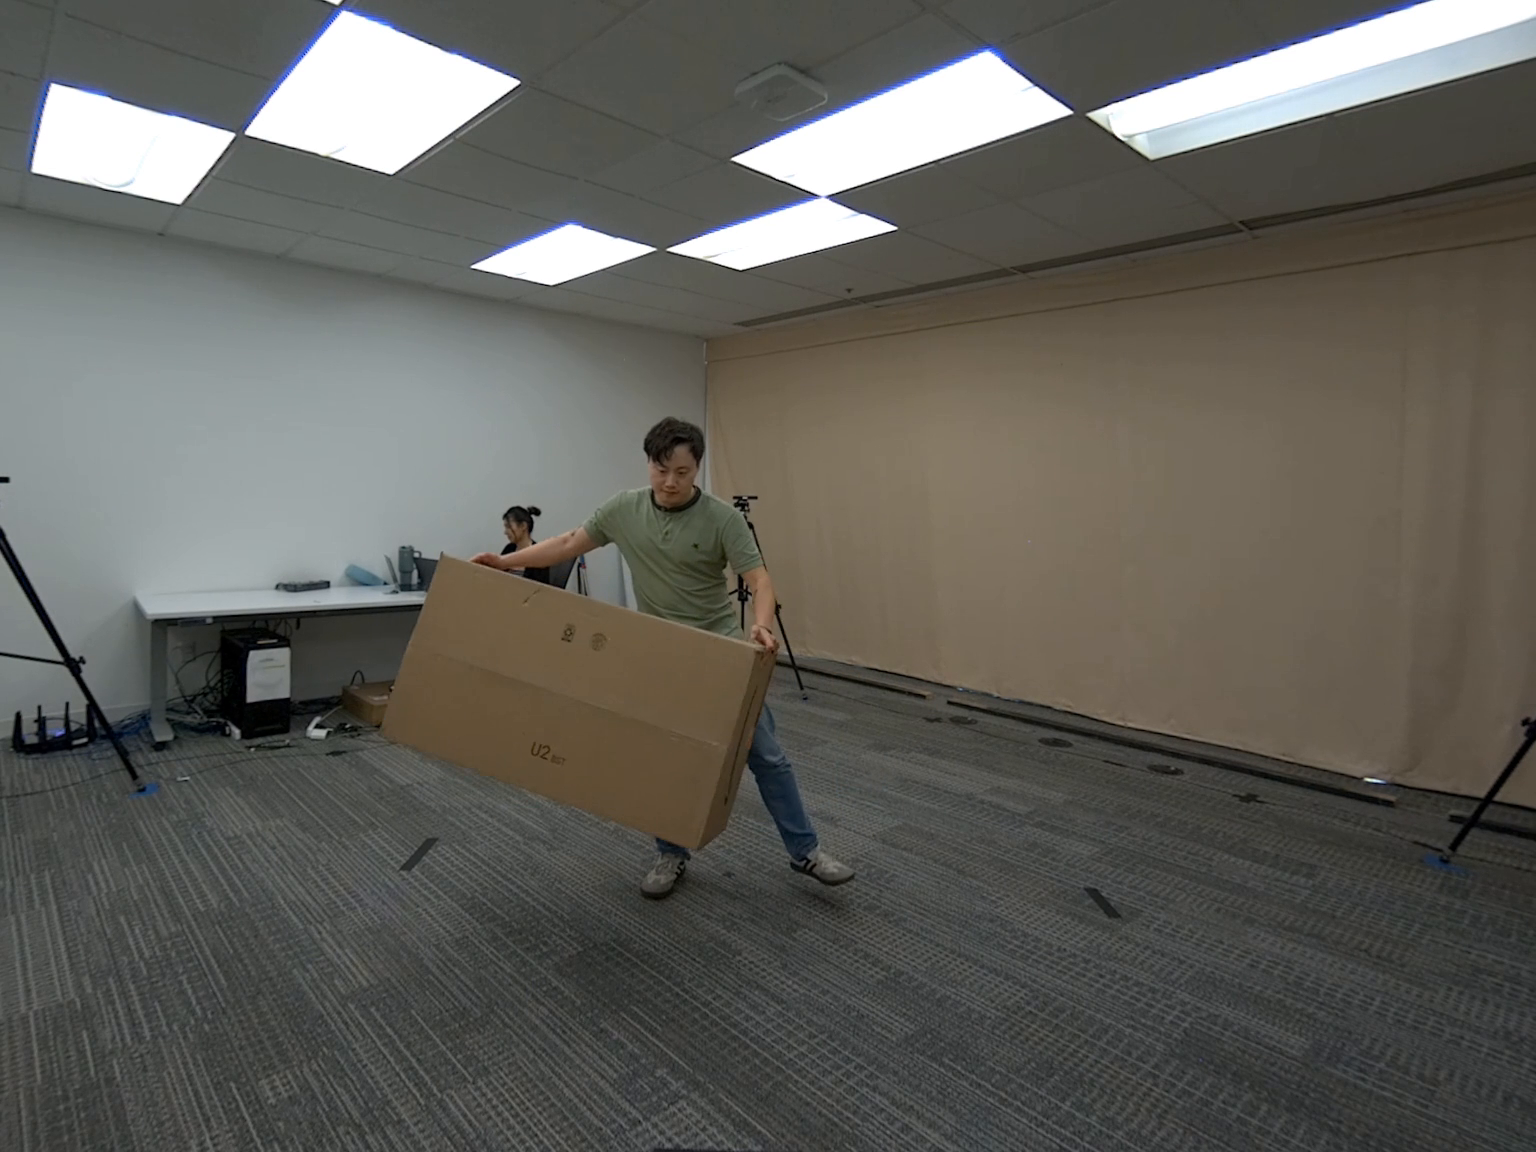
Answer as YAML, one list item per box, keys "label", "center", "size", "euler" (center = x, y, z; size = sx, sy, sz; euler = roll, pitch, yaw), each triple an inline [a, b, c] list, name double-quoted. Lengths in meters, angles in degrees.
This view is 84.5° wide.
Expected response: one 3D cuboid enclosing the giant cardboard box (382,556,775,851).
- label: "giant cardboard box"
  center: [-0.553, 0.373, 2.616]
  size: [1.037, 0.579, 0.420]
  euler: [15, -7, 11]
